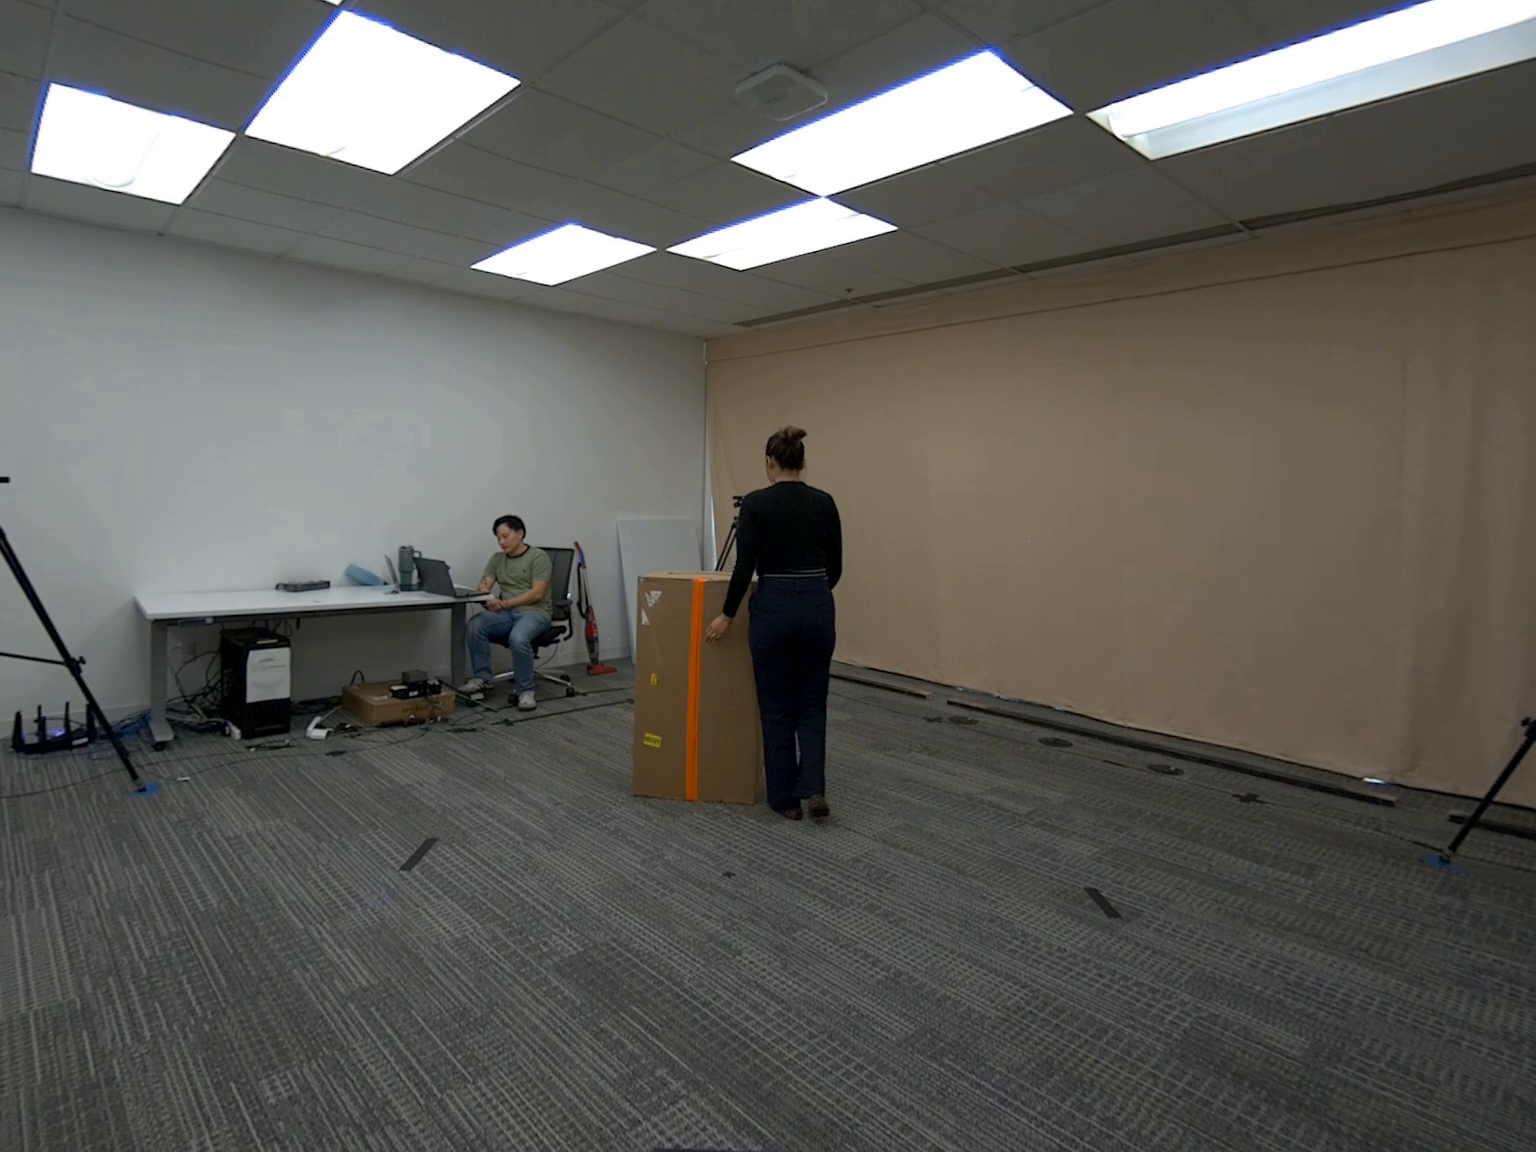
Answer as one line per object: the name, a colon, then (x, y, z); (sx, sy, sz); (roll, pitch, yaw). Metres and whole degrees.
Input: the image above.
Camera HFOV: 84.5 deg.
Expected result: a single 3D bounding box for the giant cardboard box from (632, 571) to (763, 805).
giant cardboard box: (-0.326, 0.505, 4.062); (0.581, 1.023, 0.424); (2, 3, 8)
